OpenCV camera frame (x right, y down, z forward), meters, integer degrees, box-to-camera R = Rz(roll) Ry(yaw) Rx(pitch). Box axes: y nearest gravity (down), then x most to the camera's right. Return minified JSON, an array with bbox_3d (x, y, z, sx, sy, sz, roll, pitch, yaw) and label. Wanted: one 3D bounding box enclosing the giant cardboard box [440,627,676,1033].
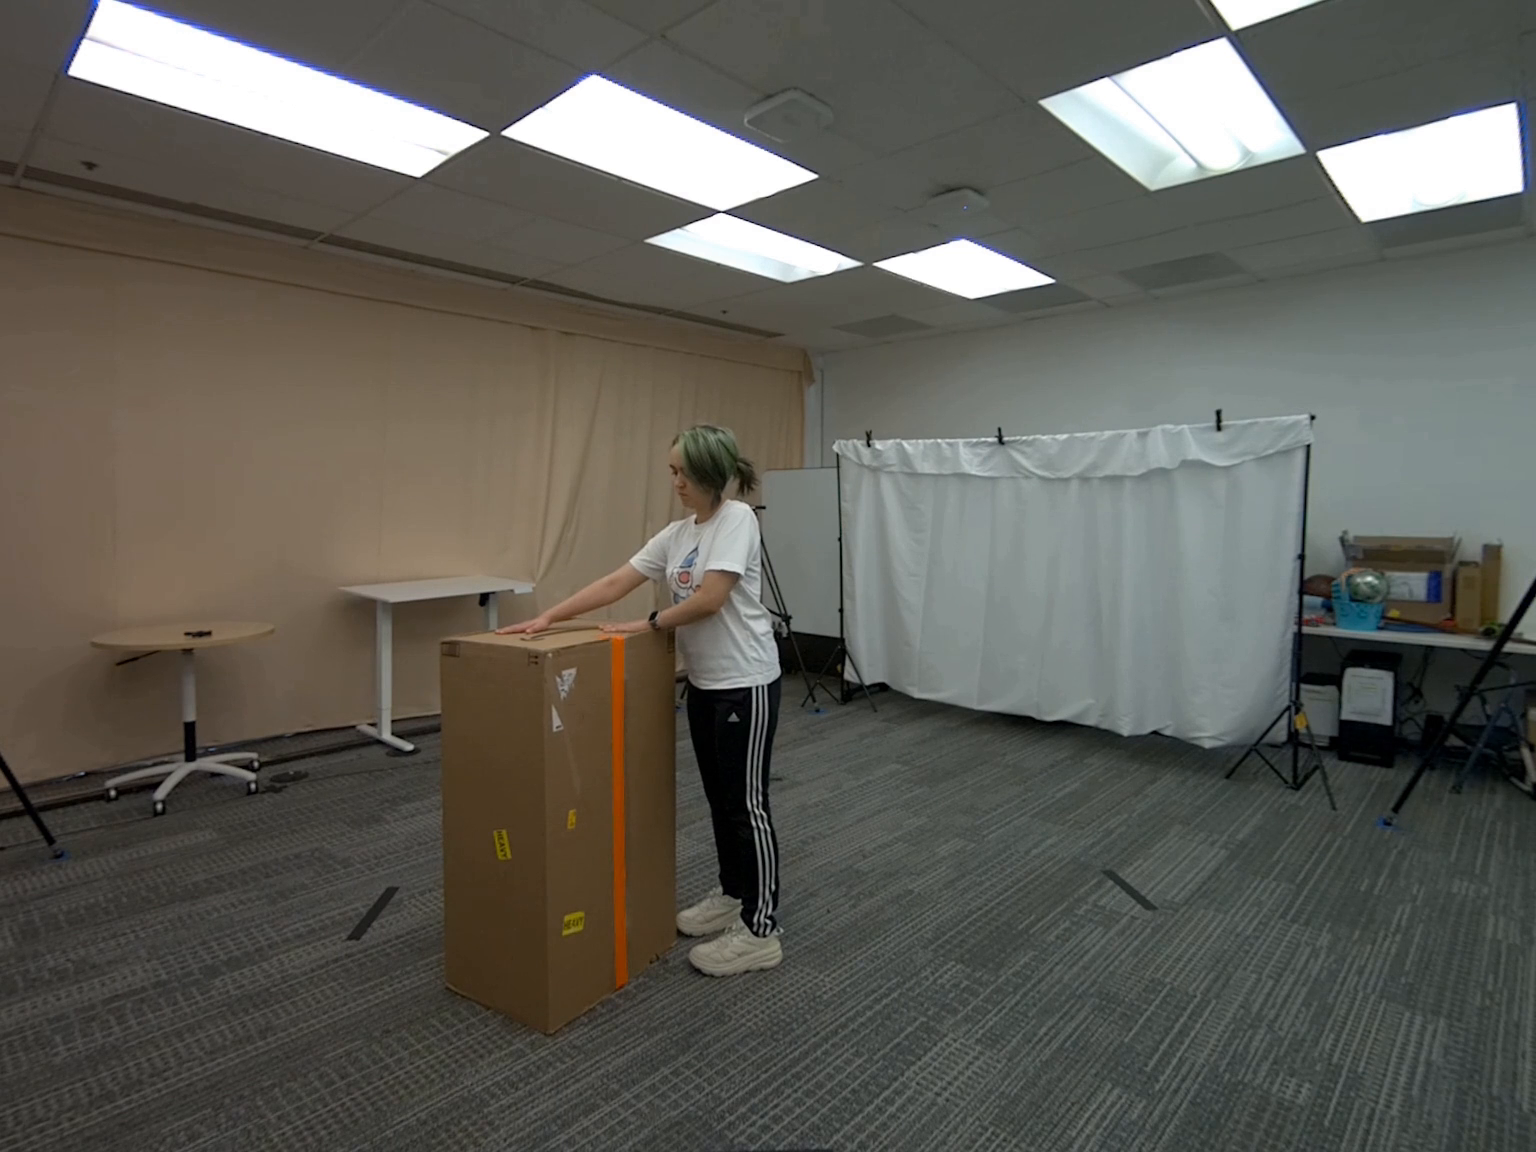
[{"bbox_3d":[-0.616,0.684,2.539,0.460,1.026,0.568,1,2,31],"label":"giant cardboard box"}]
